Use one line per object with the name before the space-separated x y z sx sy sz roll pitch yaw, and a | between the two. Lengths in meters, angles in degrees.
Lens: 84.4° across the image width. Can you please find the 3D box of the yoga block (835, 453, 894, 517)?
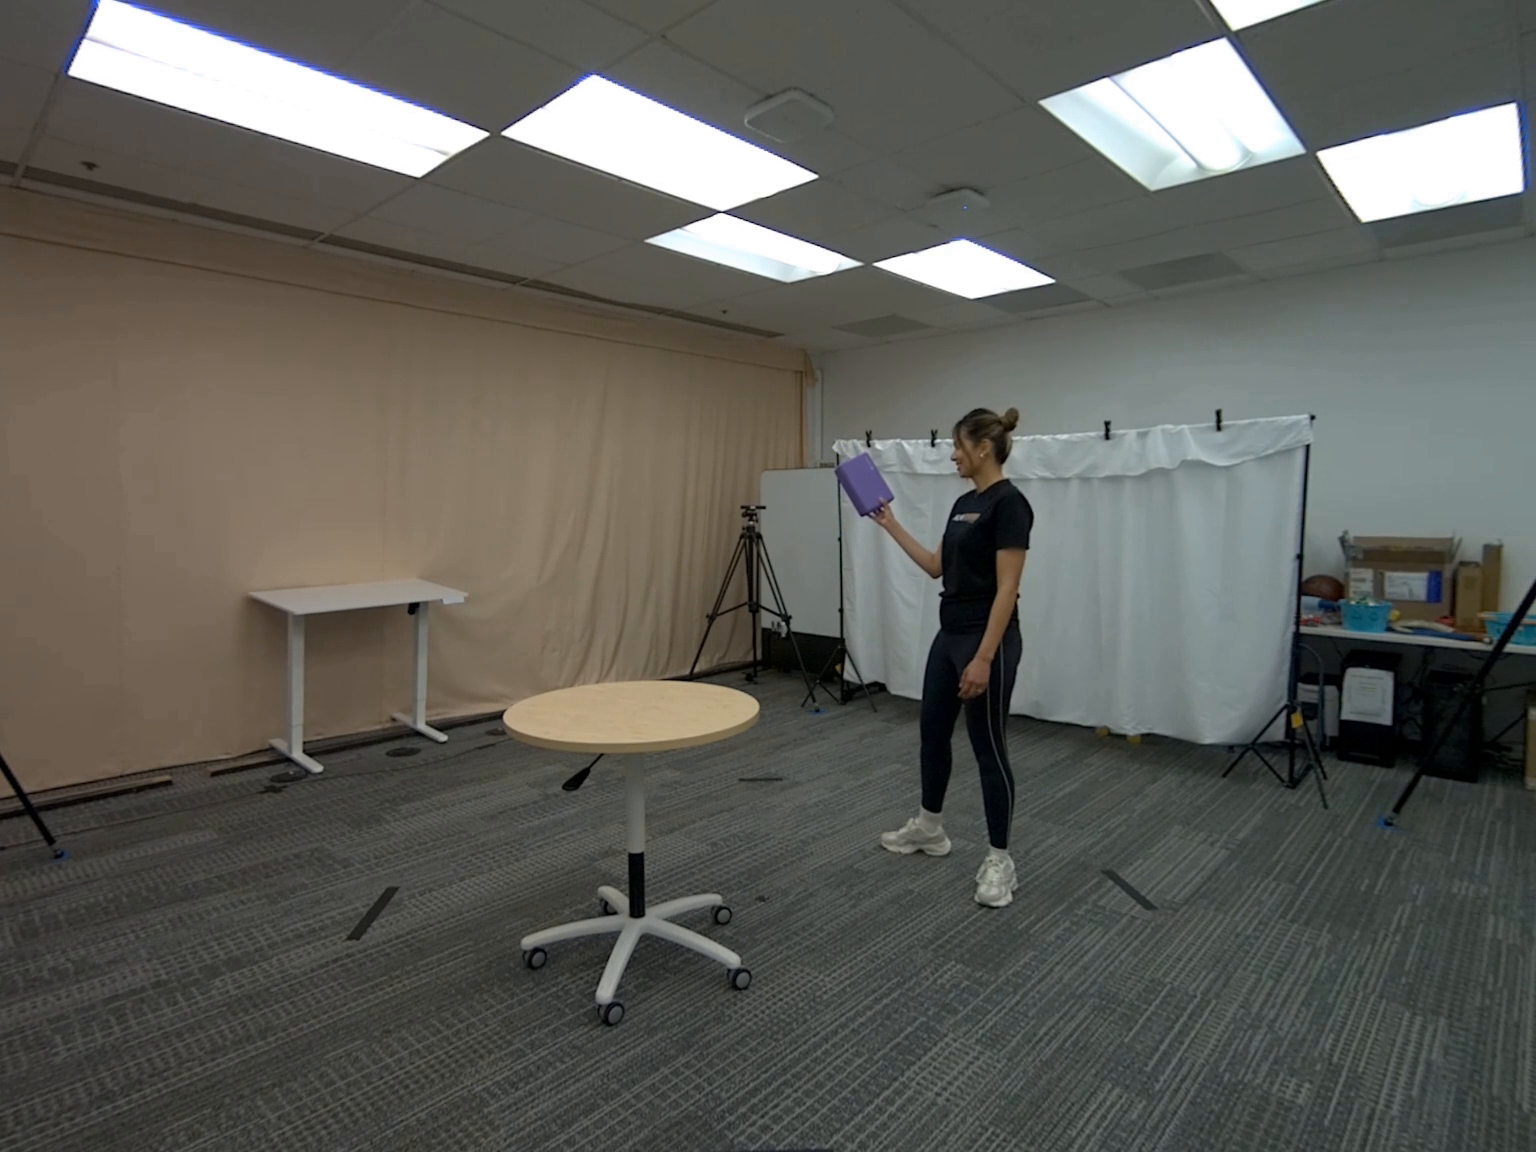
yoga block | 0.397 -0.376 3.444 0.147 0.231 0.076 -27 -9 -18
